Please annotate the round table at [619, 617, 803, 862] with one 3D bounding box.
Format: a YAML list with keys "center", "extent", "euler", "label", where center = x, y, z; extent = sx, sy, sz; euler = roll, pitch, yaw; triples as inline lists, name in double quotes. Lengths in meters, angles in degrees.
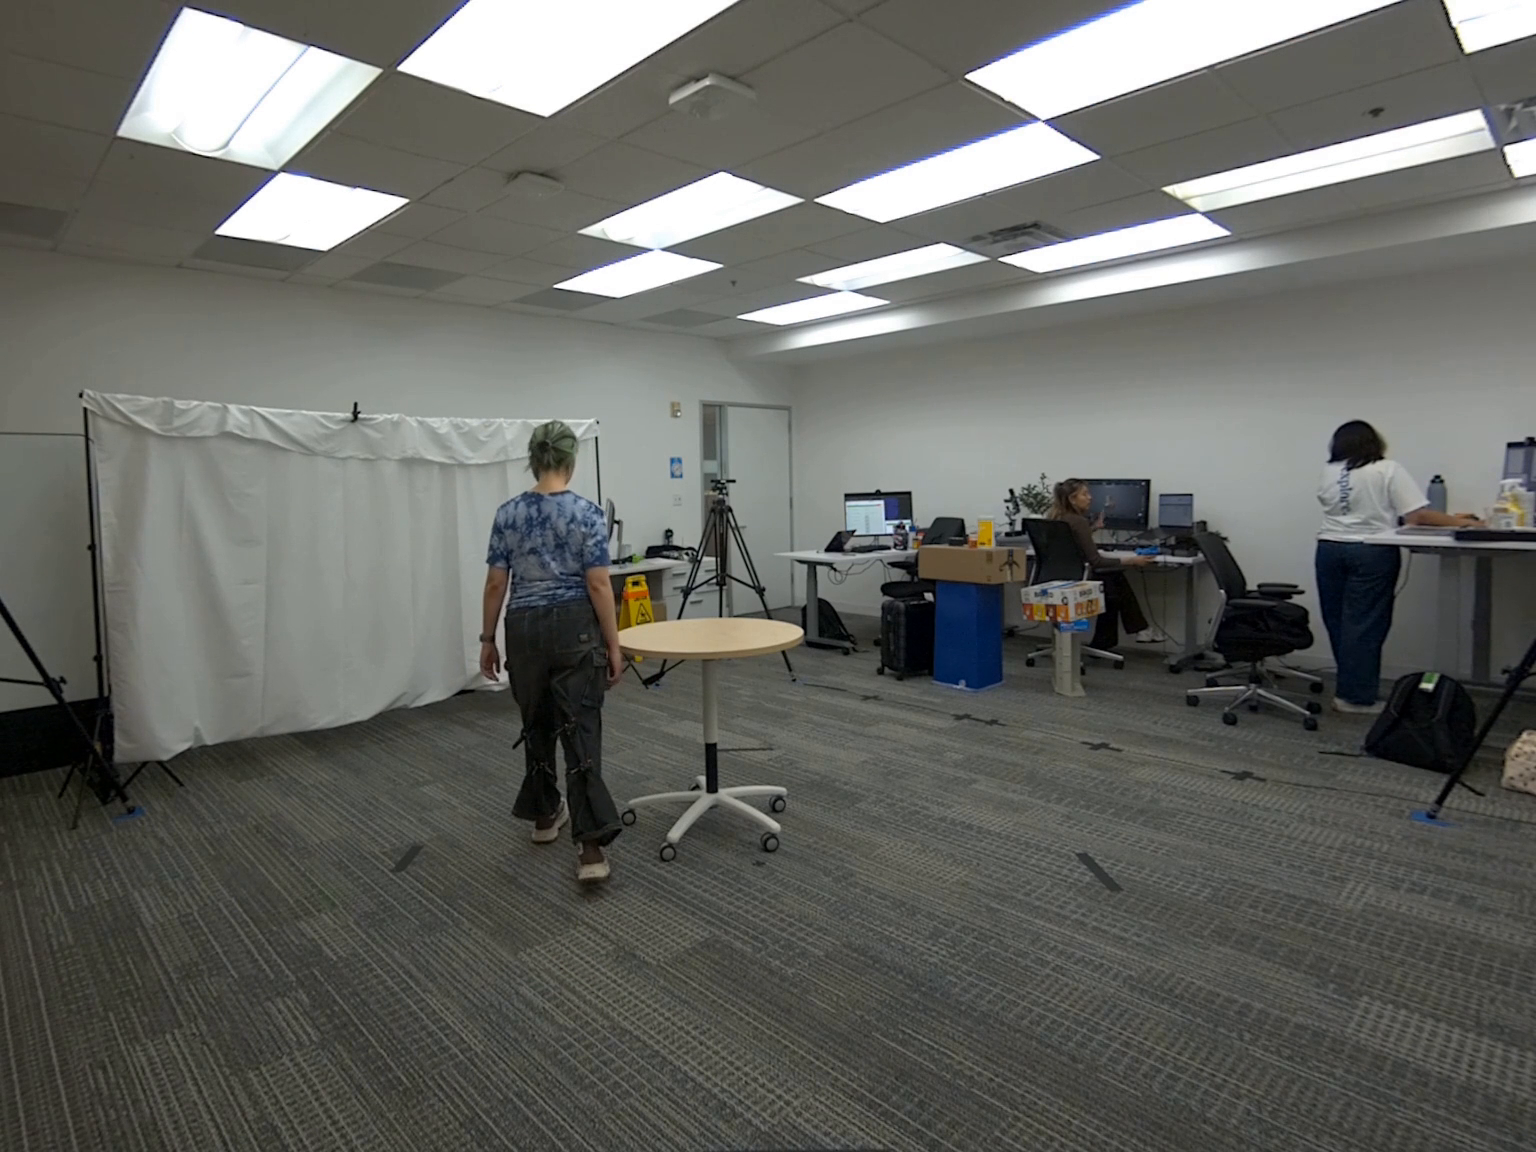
- center: [-0.229, 0.623, 3.435]
  extent: [0.763, 0.791, 0.768]
  euler: [-2, 5, -2]
  label: "round table"
